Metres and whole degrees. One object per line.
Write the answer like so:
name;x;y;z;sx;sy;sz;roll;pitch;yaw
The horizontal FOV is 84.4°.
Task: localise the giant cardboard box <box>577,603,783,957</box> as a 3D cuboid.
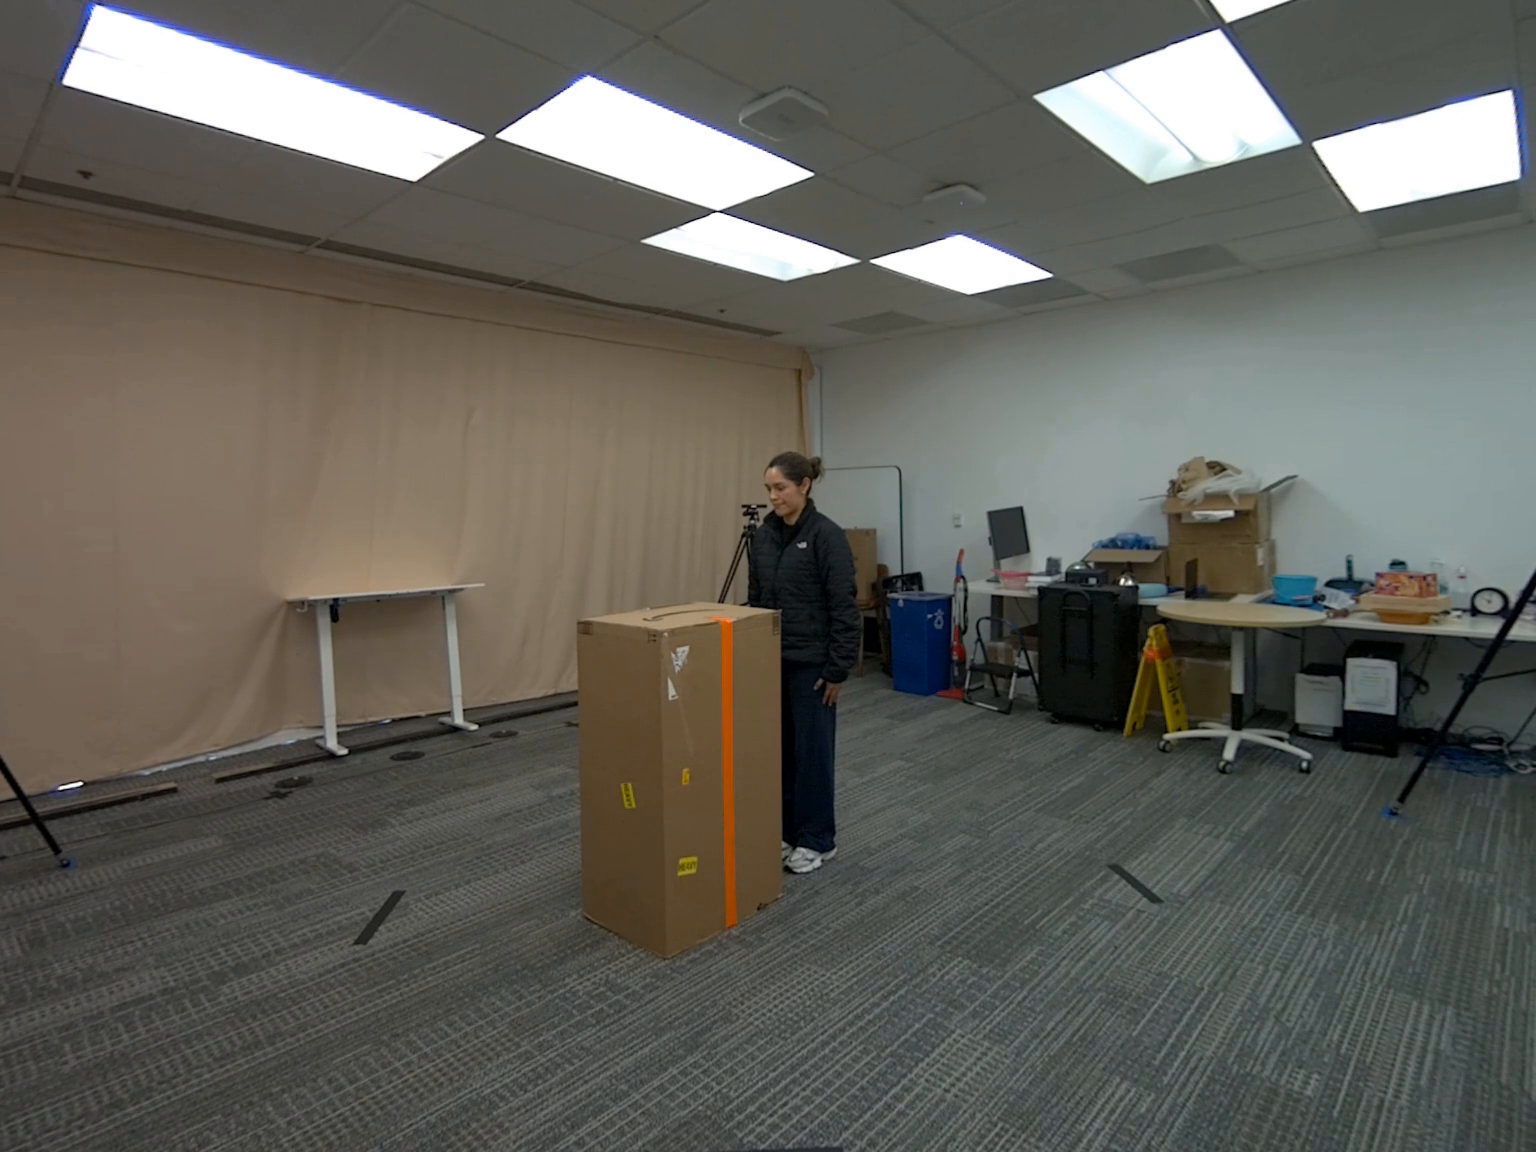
giant cardboard box;-0.283;0.645;2.903;0.440;1.024;0.560;2;4;42
